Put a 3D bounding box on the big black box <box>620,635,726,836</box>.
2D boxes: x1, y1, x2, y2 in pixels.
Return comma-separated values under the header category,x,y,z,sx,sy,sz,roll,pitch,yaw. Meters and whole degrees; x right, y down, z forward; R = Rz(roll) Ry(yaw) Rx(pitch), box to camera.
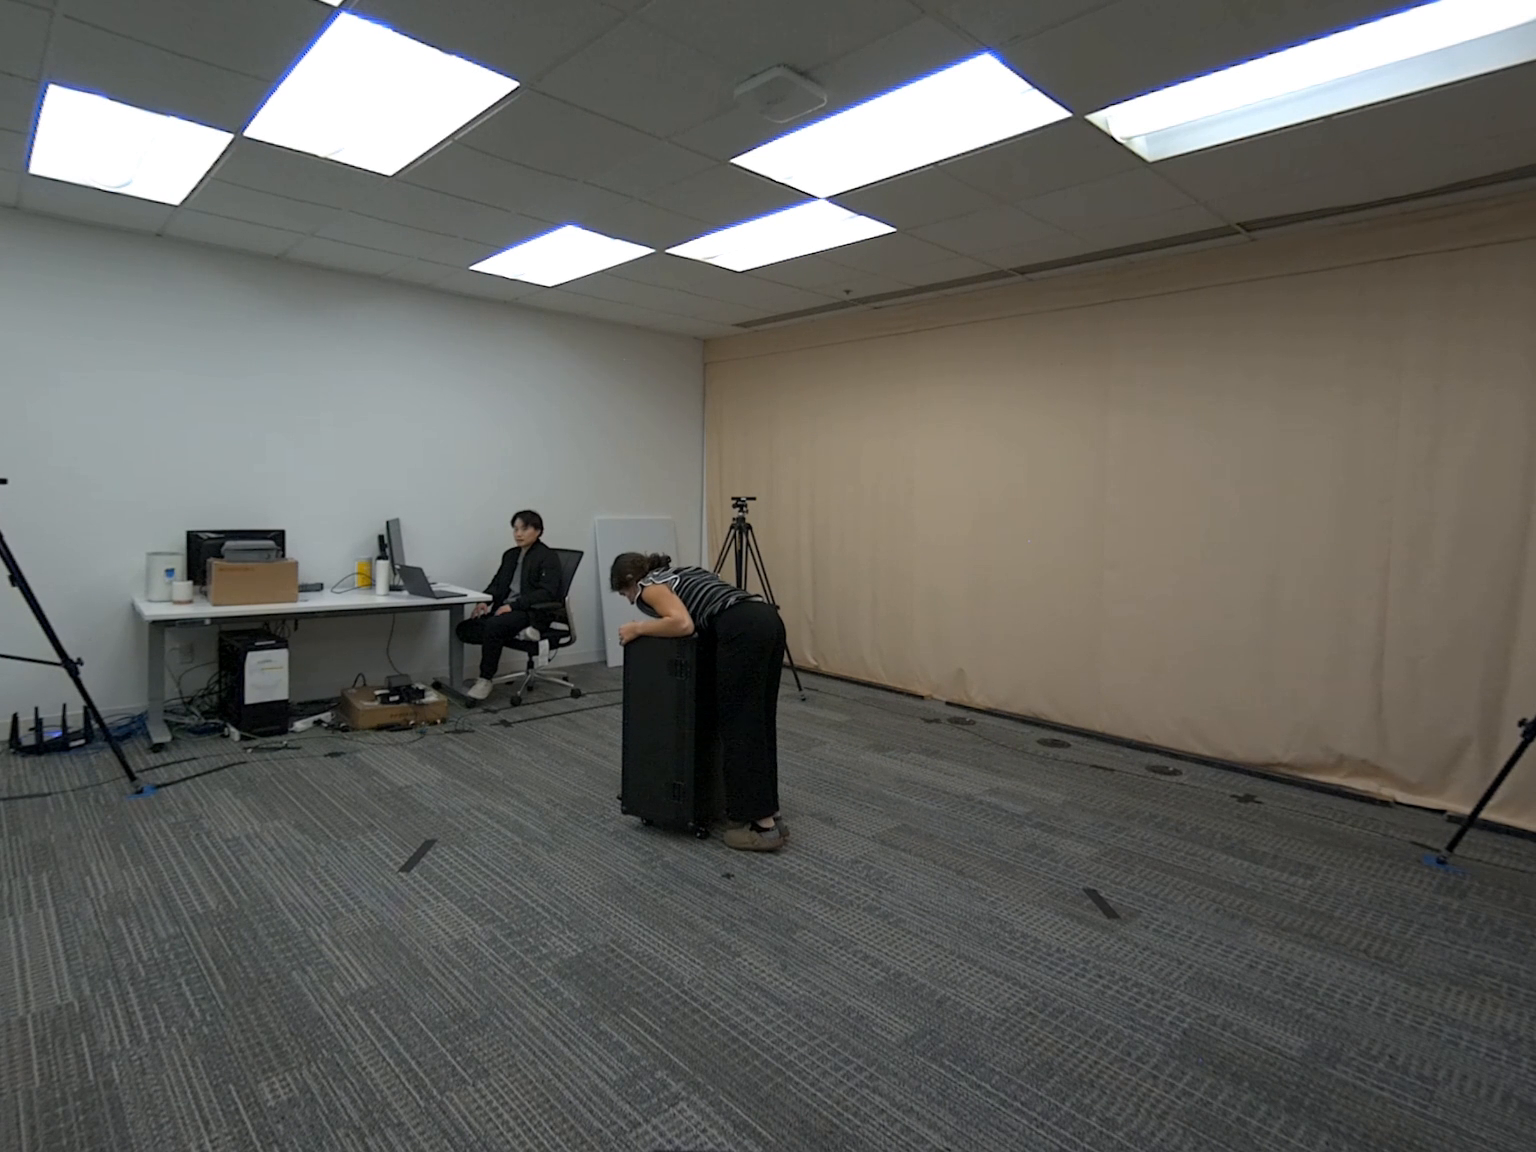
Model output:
category,x,y,z,sx,sy,sz,roll,pitch,yaw
big black box,-0.374,0.645,3.630,0.404,0.860,0.512,2,3,25
